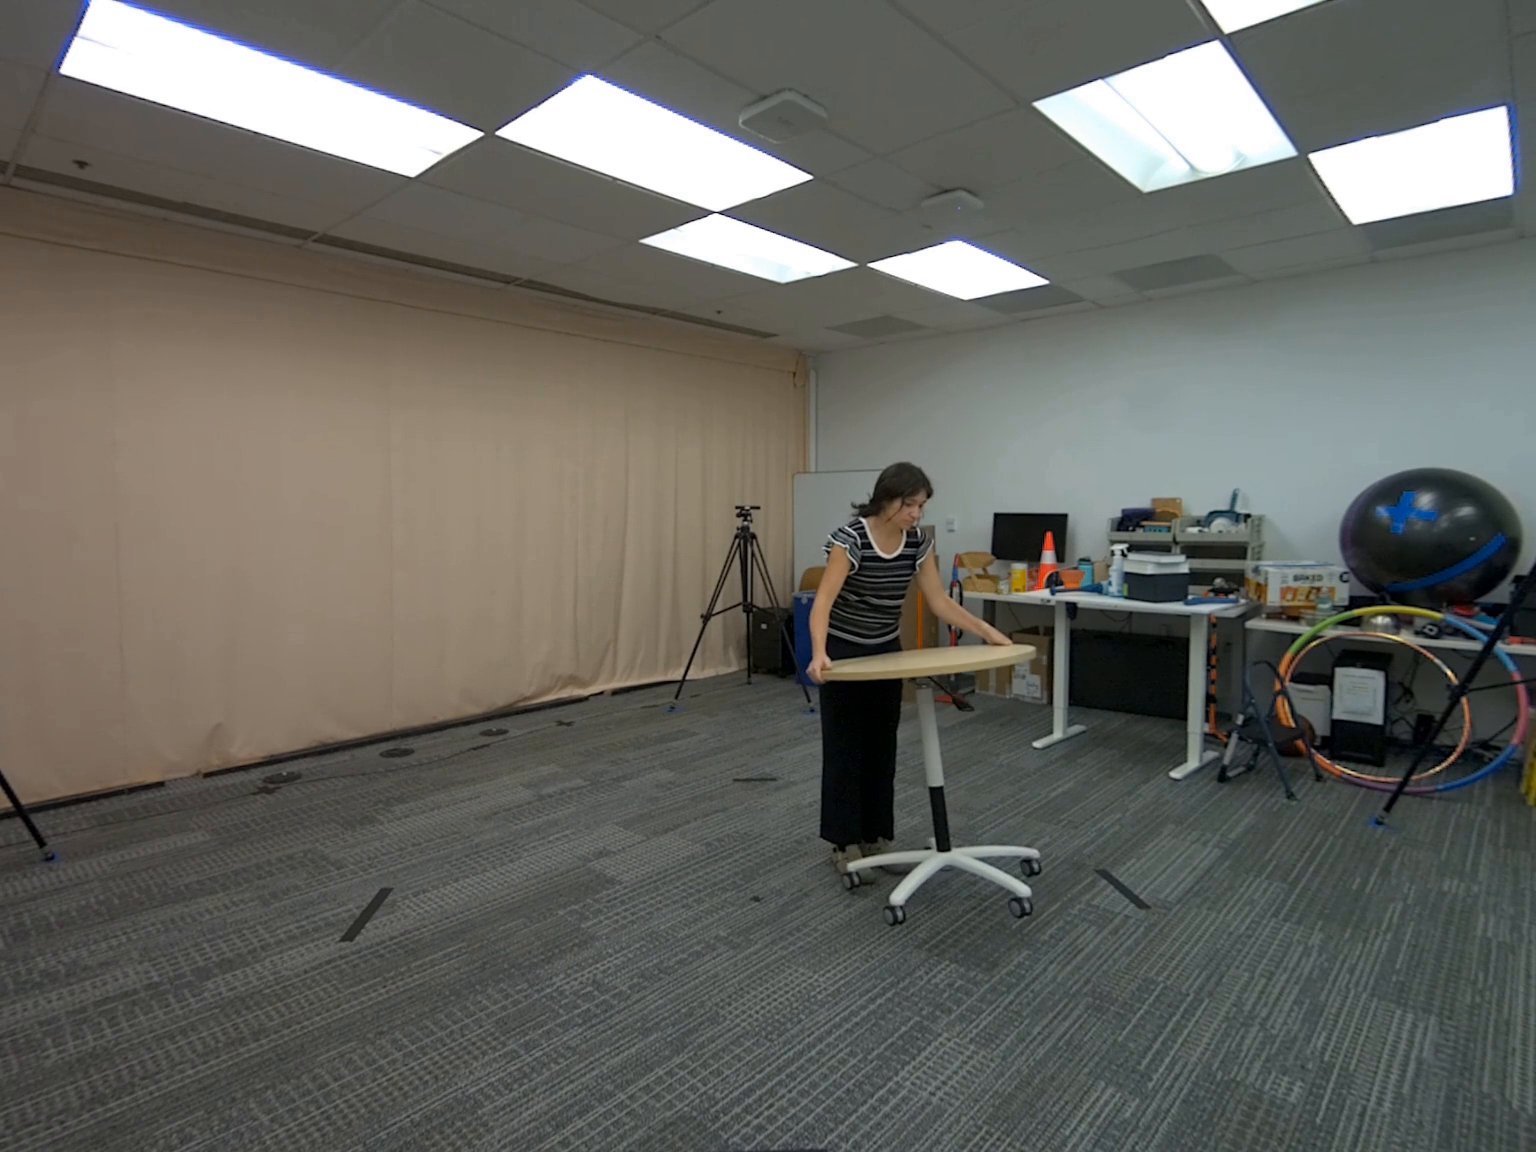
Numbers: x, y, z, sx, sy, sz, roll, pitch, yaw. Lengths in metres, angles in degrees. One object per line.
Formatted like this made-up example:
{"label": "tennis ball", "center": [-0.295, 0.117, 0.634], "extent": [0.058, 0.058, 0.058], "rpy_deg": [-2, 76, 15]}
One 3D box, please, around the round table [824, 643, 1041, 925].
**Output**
{"label": "round table", "center": [0.577, 0.685, 2.906], "extent": [0.763, 0.796, 0.763], "rpy_deg": [-6, -2, -2]}
